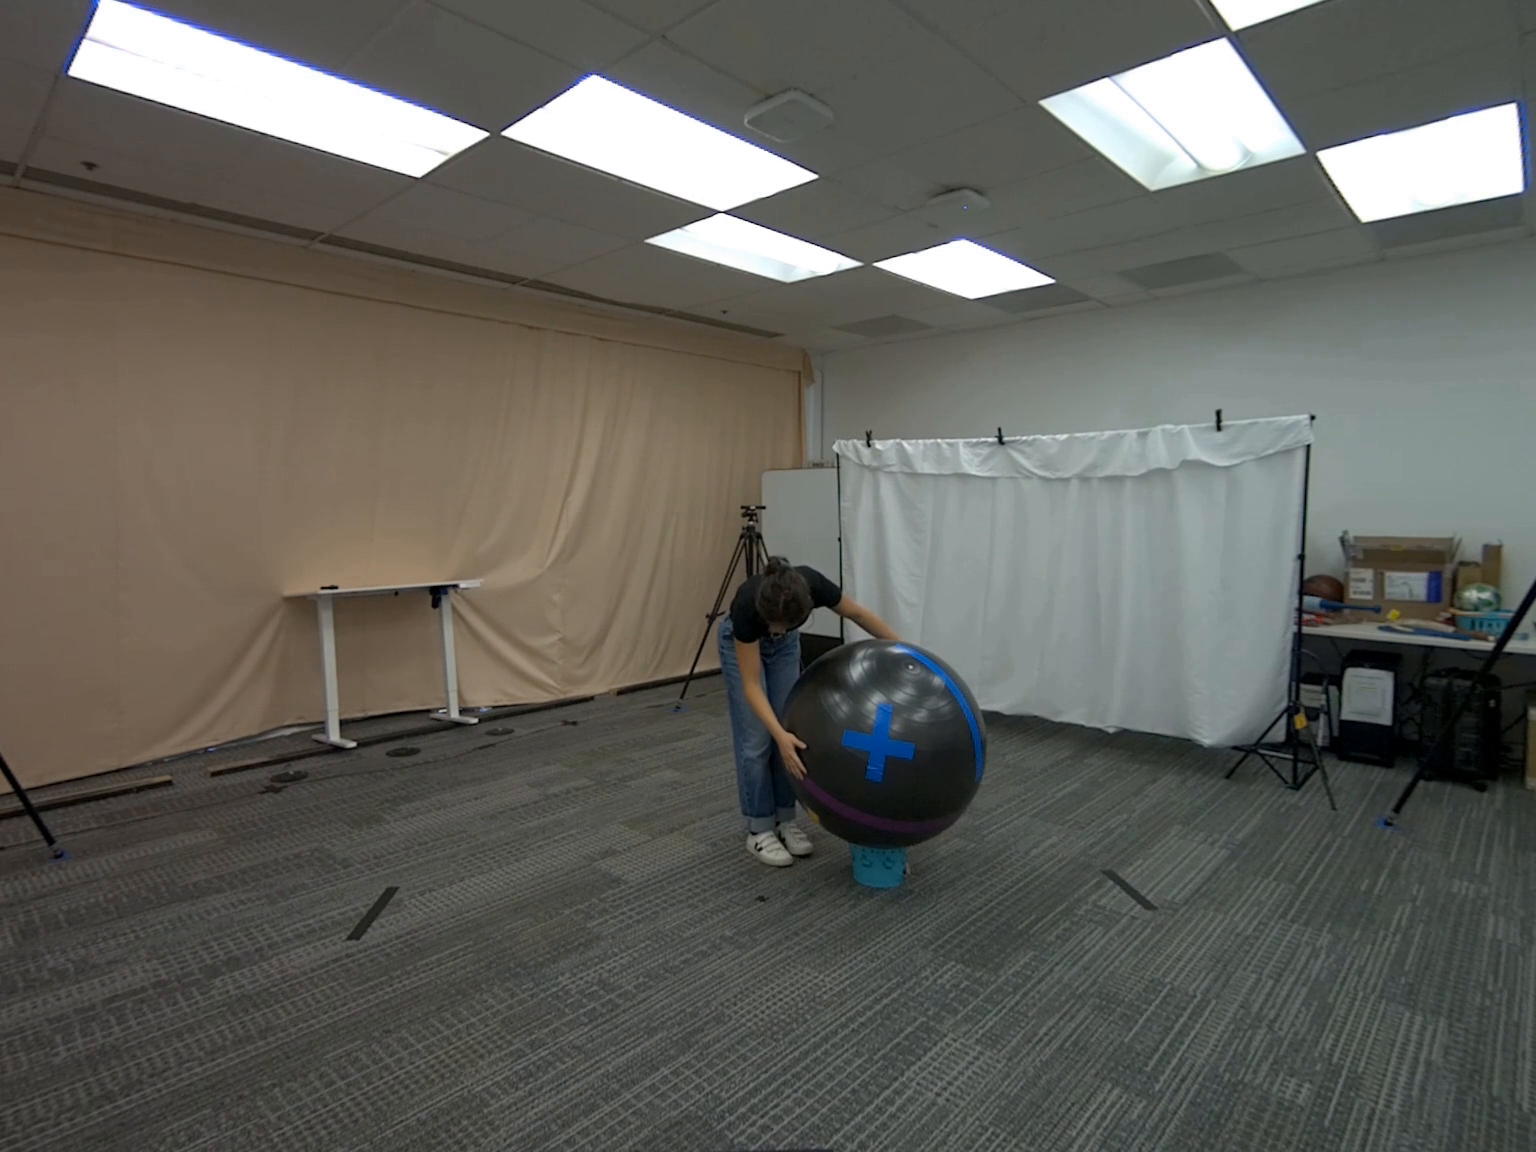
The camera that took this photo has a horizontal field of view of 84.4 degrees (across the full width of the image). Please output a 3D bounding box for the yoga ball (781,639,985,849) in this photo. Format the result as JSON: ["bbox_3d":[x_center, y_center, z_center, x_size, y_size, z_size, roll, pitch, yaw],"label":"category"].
[{"bbox_3d":[0.439,0.621,3.131,0.757,0.756,0.760,0,4,-2],"label":"yoga ball"}]
